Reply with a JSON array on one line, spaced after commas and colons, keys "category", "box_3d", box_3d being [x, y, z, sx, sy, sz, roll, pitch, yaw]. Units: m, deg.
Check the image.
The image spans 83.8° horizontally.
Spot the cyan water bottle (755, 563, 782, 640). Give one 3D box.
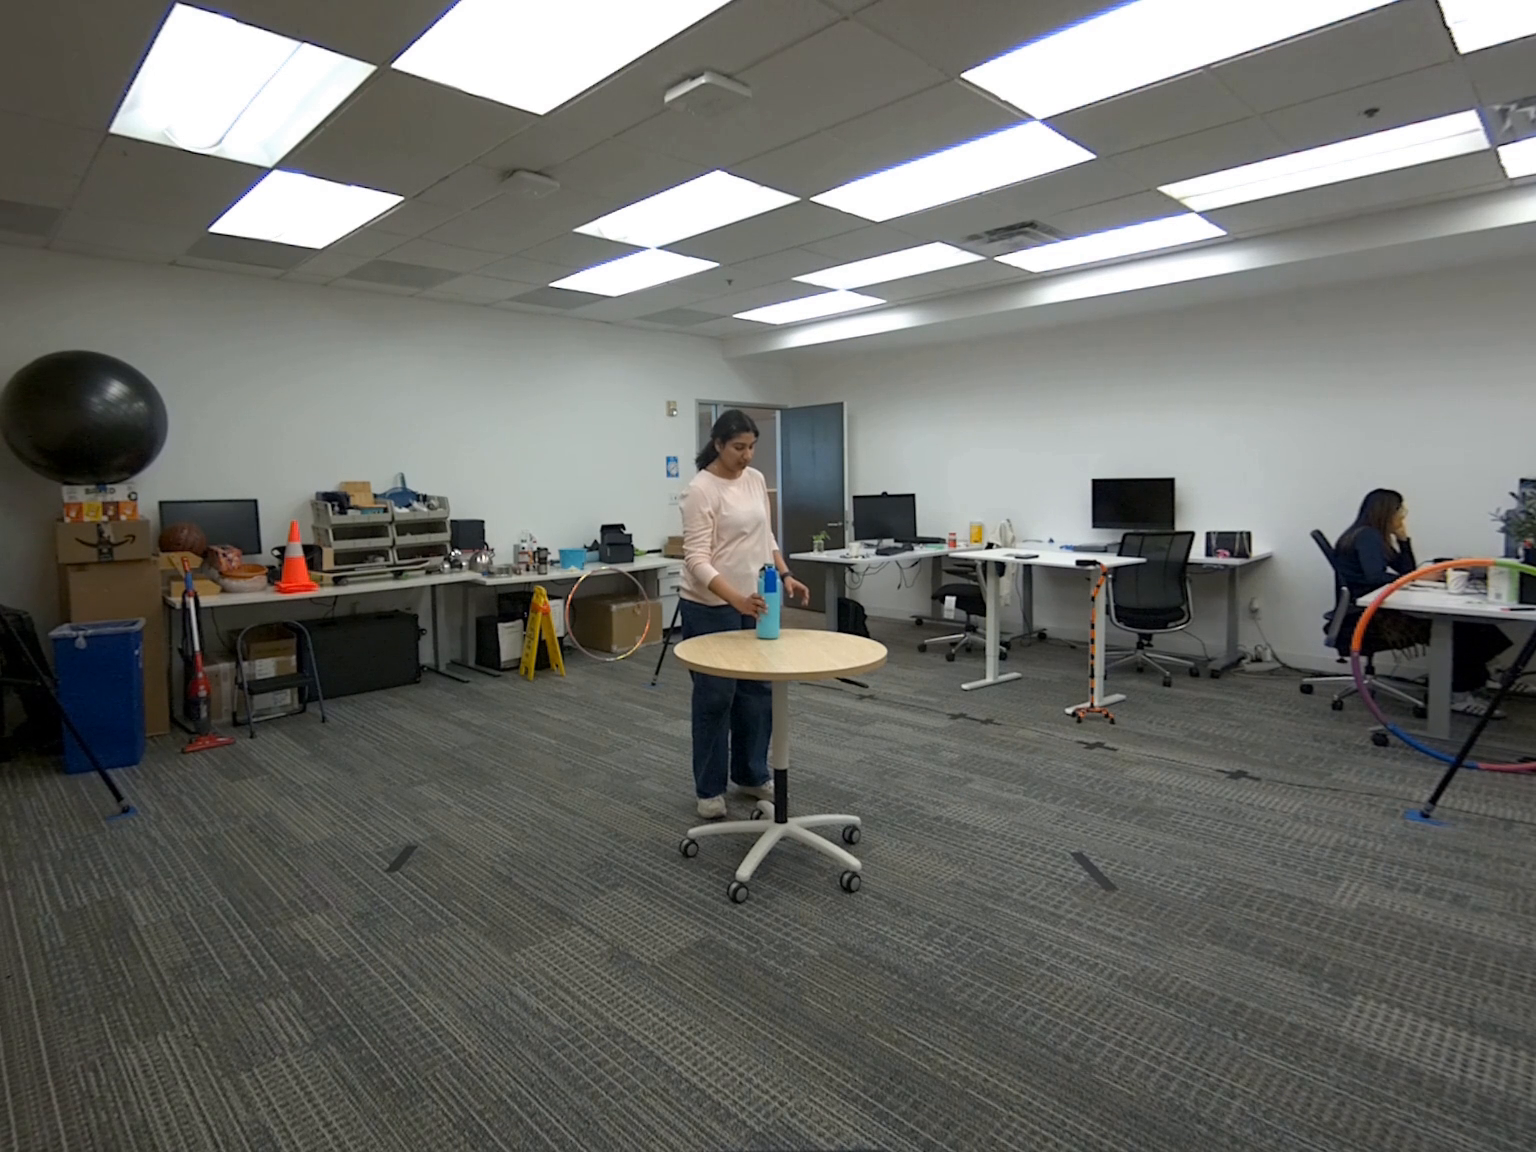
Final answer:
[{"category": "cyan water bottle", "box_3d": [0.005, 0.095, 3.282, 0.092, 0.283, 0.092, 2, 2, -2]}]
